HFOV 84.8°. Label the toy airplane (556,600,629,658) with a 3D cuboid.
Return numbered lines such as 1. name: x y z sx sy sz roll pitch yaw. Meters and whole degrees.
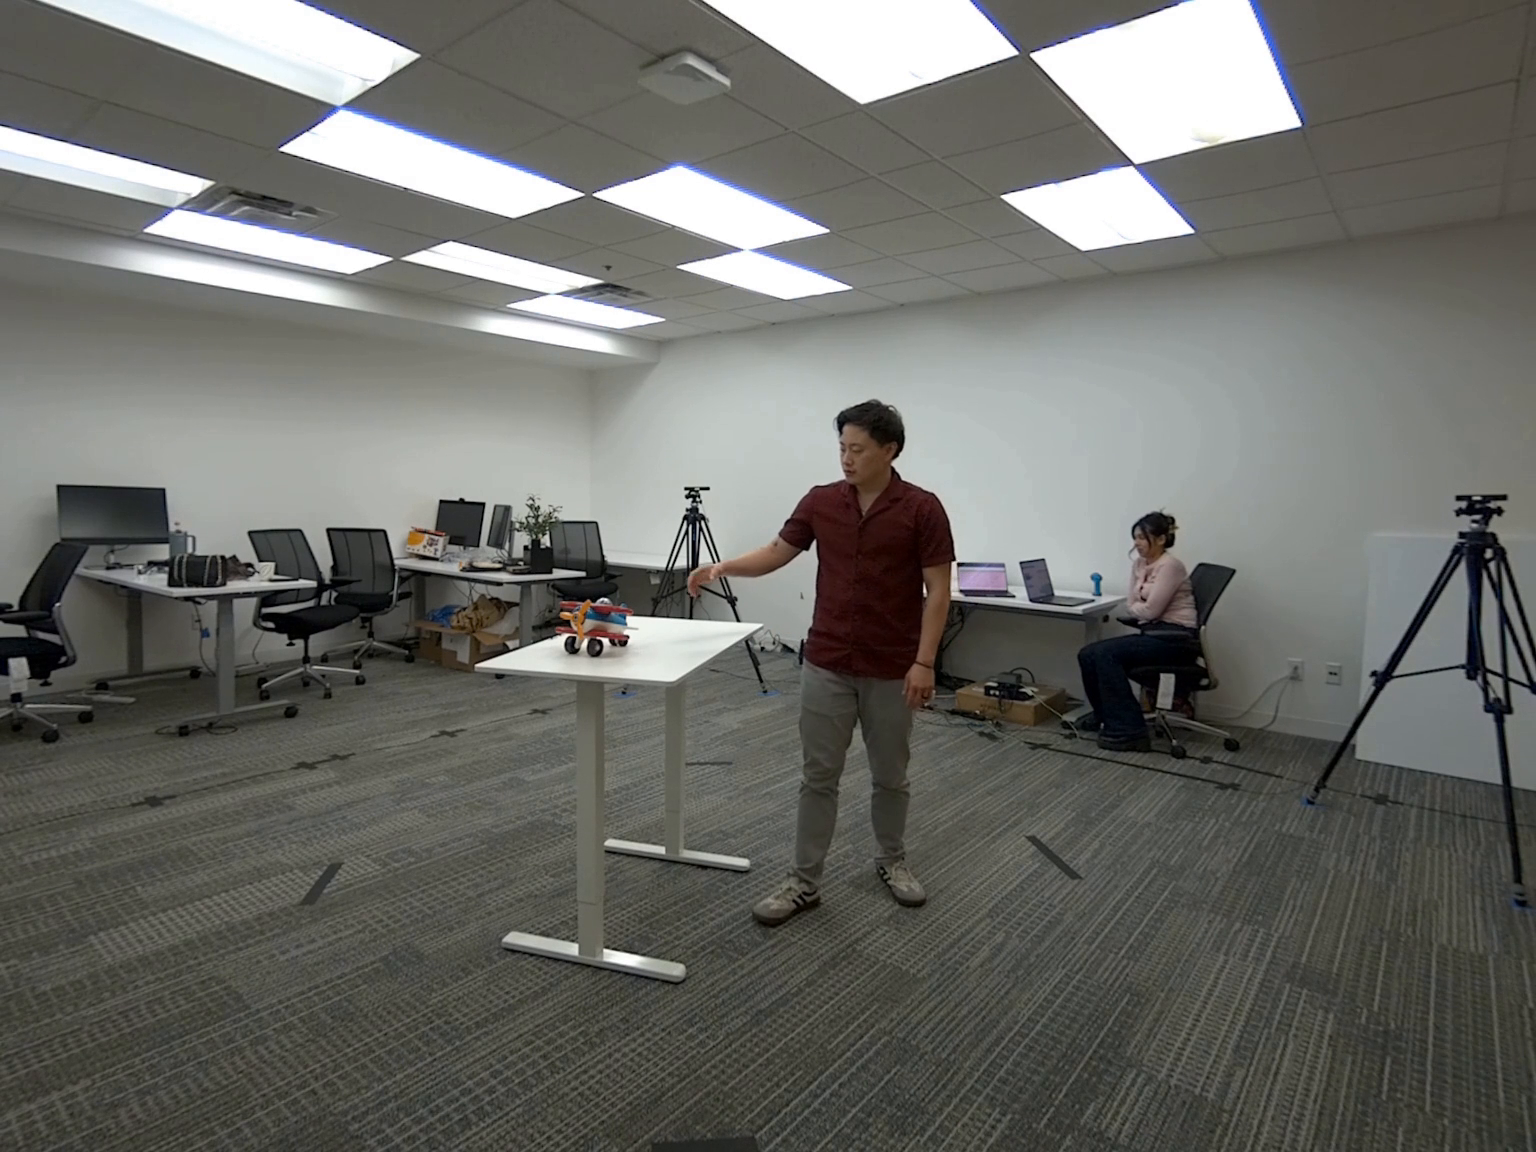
1. toy airplane: -0.546 0.153 2.646 0.251 0.156 0.260 -1 5 0
